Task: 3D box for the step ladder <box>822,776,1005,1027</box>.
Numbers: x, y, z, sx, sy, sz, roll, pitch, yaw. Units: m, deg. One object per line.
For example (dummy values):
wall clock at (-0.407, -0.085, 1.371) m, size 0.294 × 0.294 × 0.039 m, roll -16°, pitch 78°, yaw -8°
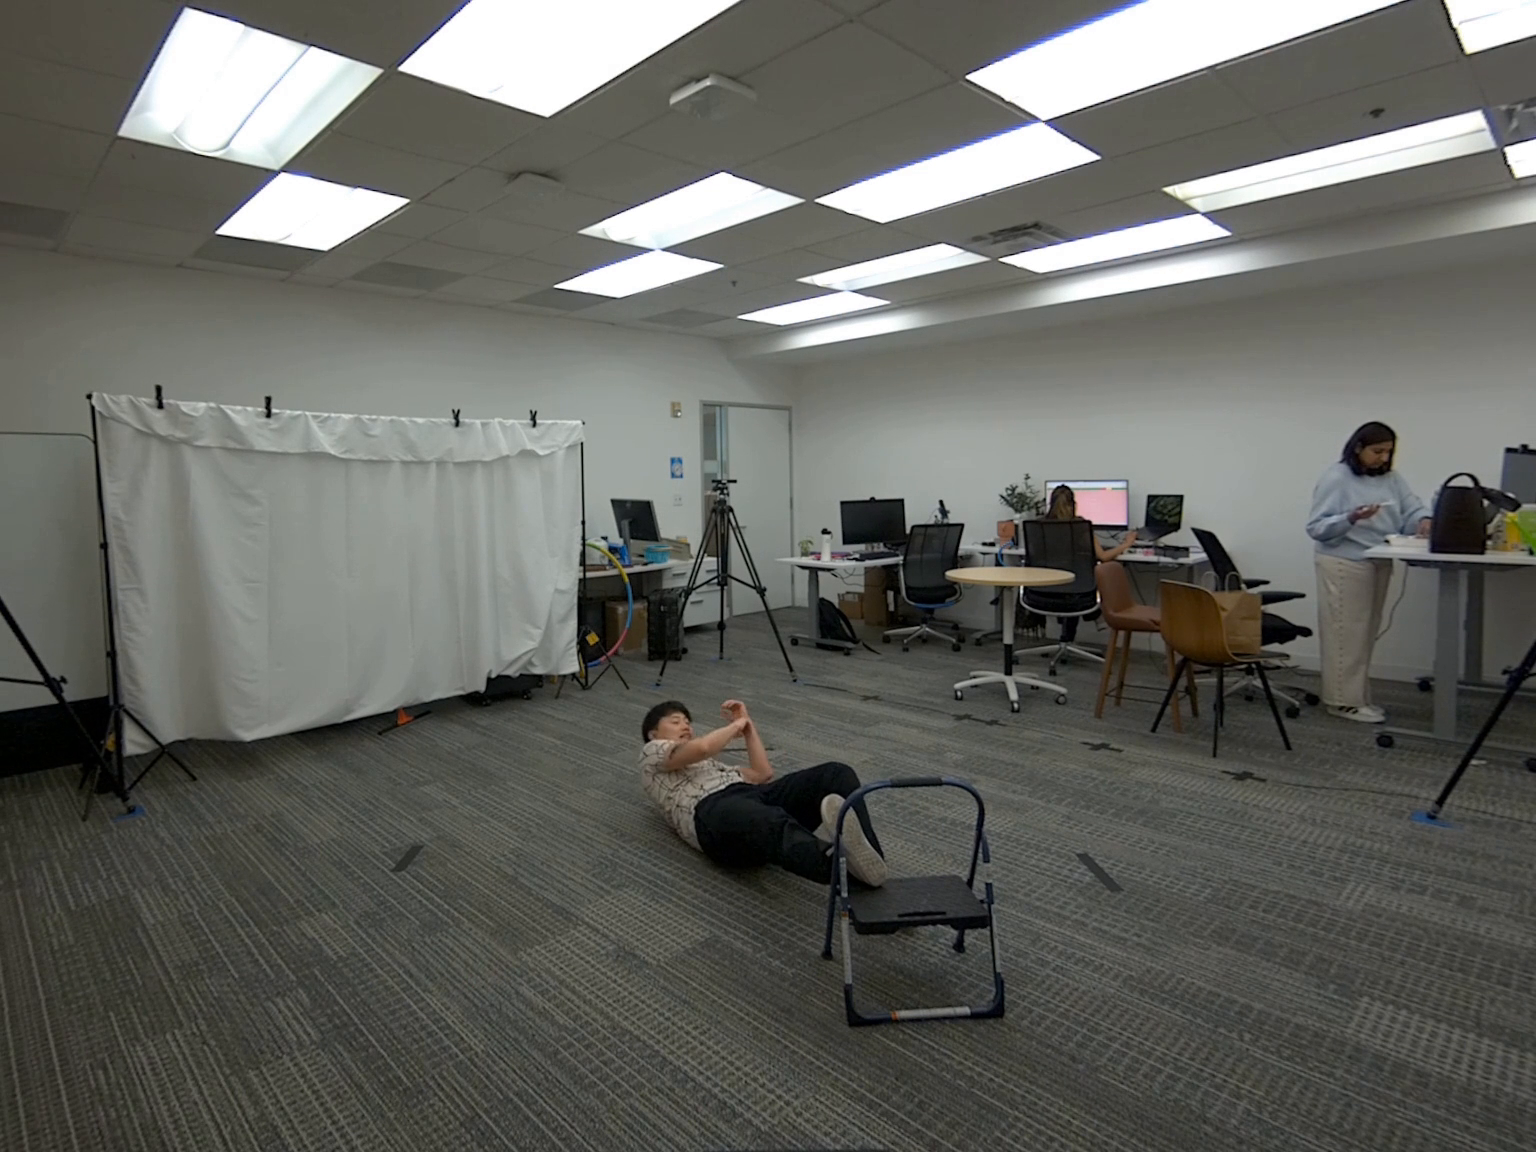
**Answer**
step ladder at (0.393, 0.830, 2.337) m, size 0.428 × 0.604 × 0.352 m, roll -2°, pitch 4°, yaw -6°
